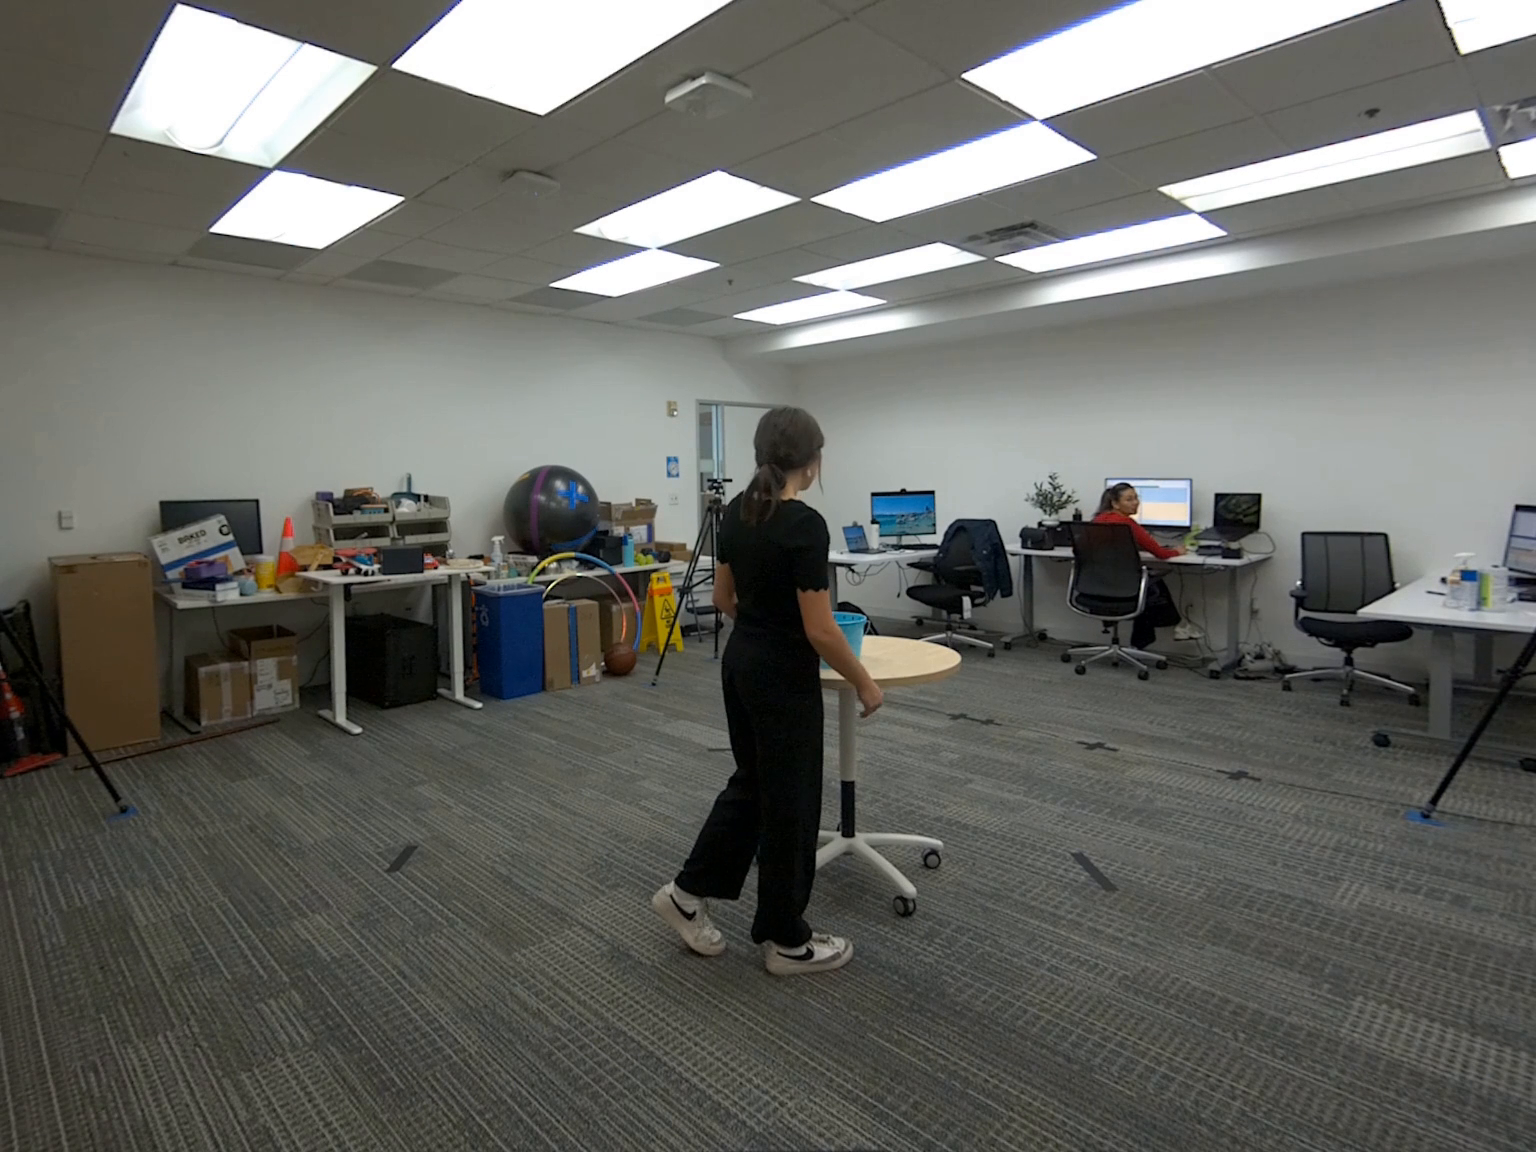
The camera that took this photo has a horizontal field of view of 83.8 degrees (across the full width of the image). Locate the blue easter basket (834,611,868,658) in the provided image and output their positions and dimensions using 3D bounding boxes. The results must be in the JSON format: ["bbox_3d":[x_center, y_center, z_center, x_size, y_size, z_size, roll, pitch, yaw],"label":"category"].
[{"bbox_3d":[0.226,0.216,2.814,0.243,0.155,0.245,-2,6,-2],"label":"blue easter basket"}]
